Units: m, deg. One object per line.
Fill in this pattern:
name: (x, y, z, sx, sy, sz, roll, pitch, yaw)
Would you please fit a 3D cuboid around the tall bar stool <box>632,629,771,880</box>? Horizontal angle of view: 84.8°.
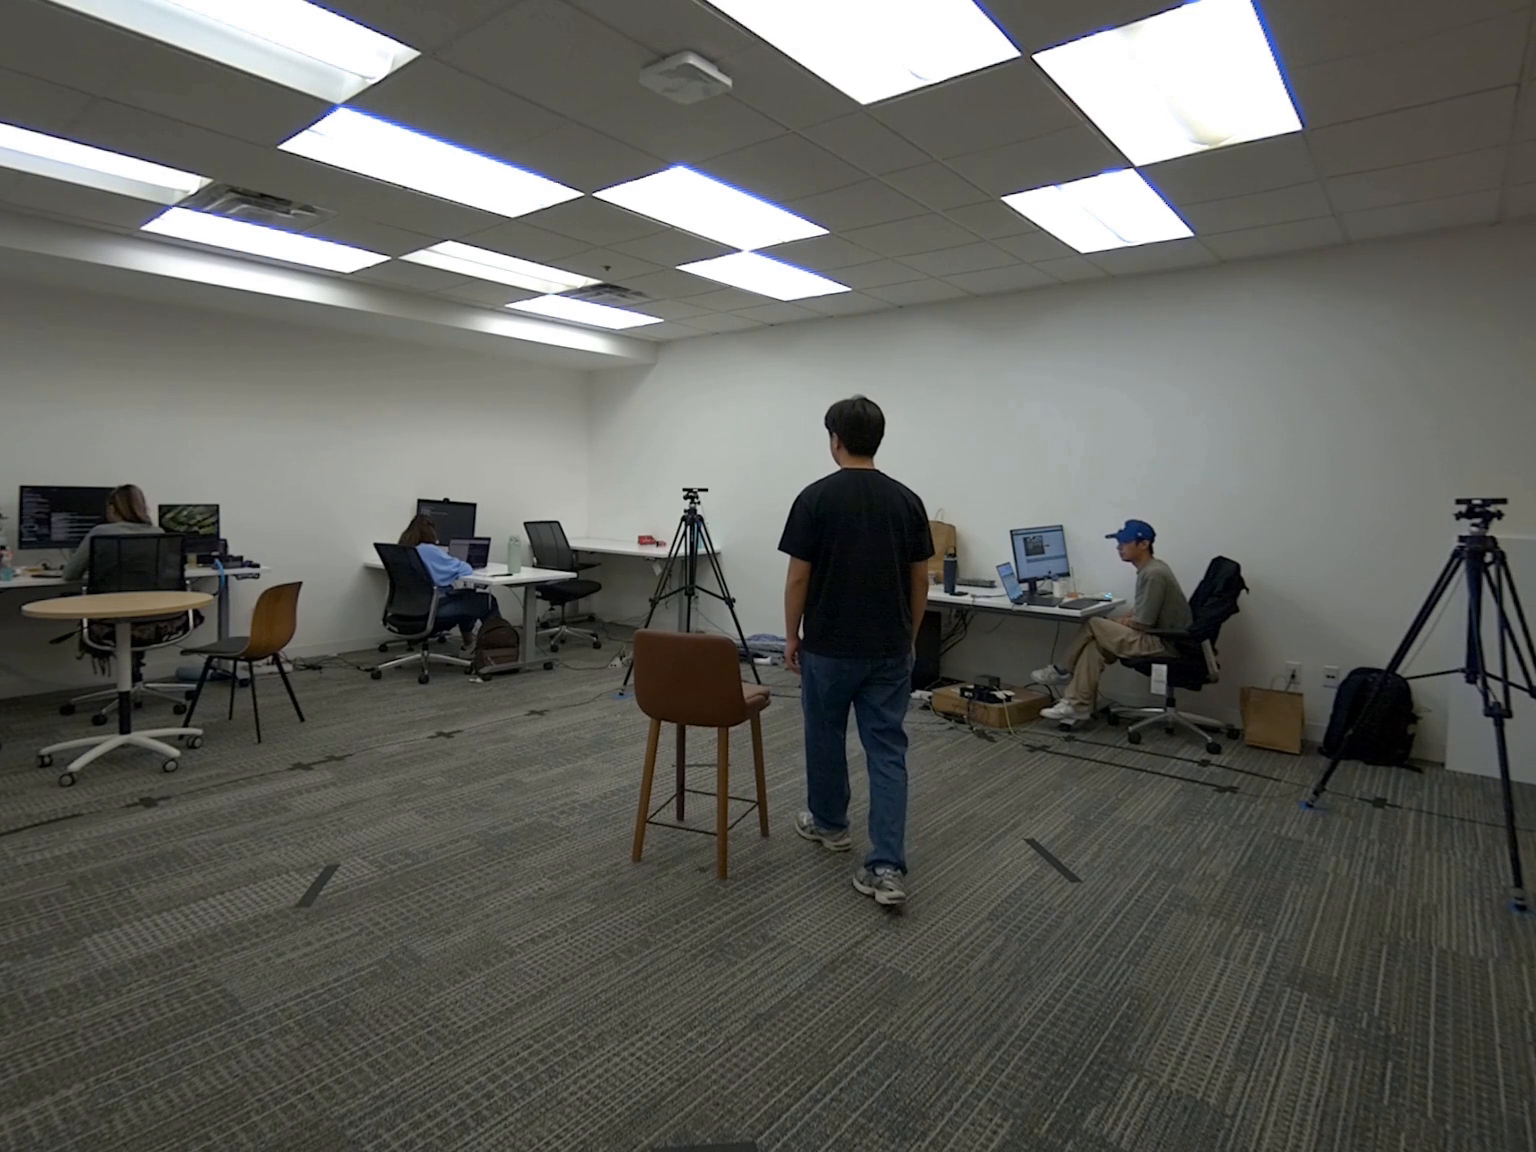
tall bar stool: (-0.267, 0.618, 3.286, 0.467, 0.886, 0.459, 1, 5, 22)
